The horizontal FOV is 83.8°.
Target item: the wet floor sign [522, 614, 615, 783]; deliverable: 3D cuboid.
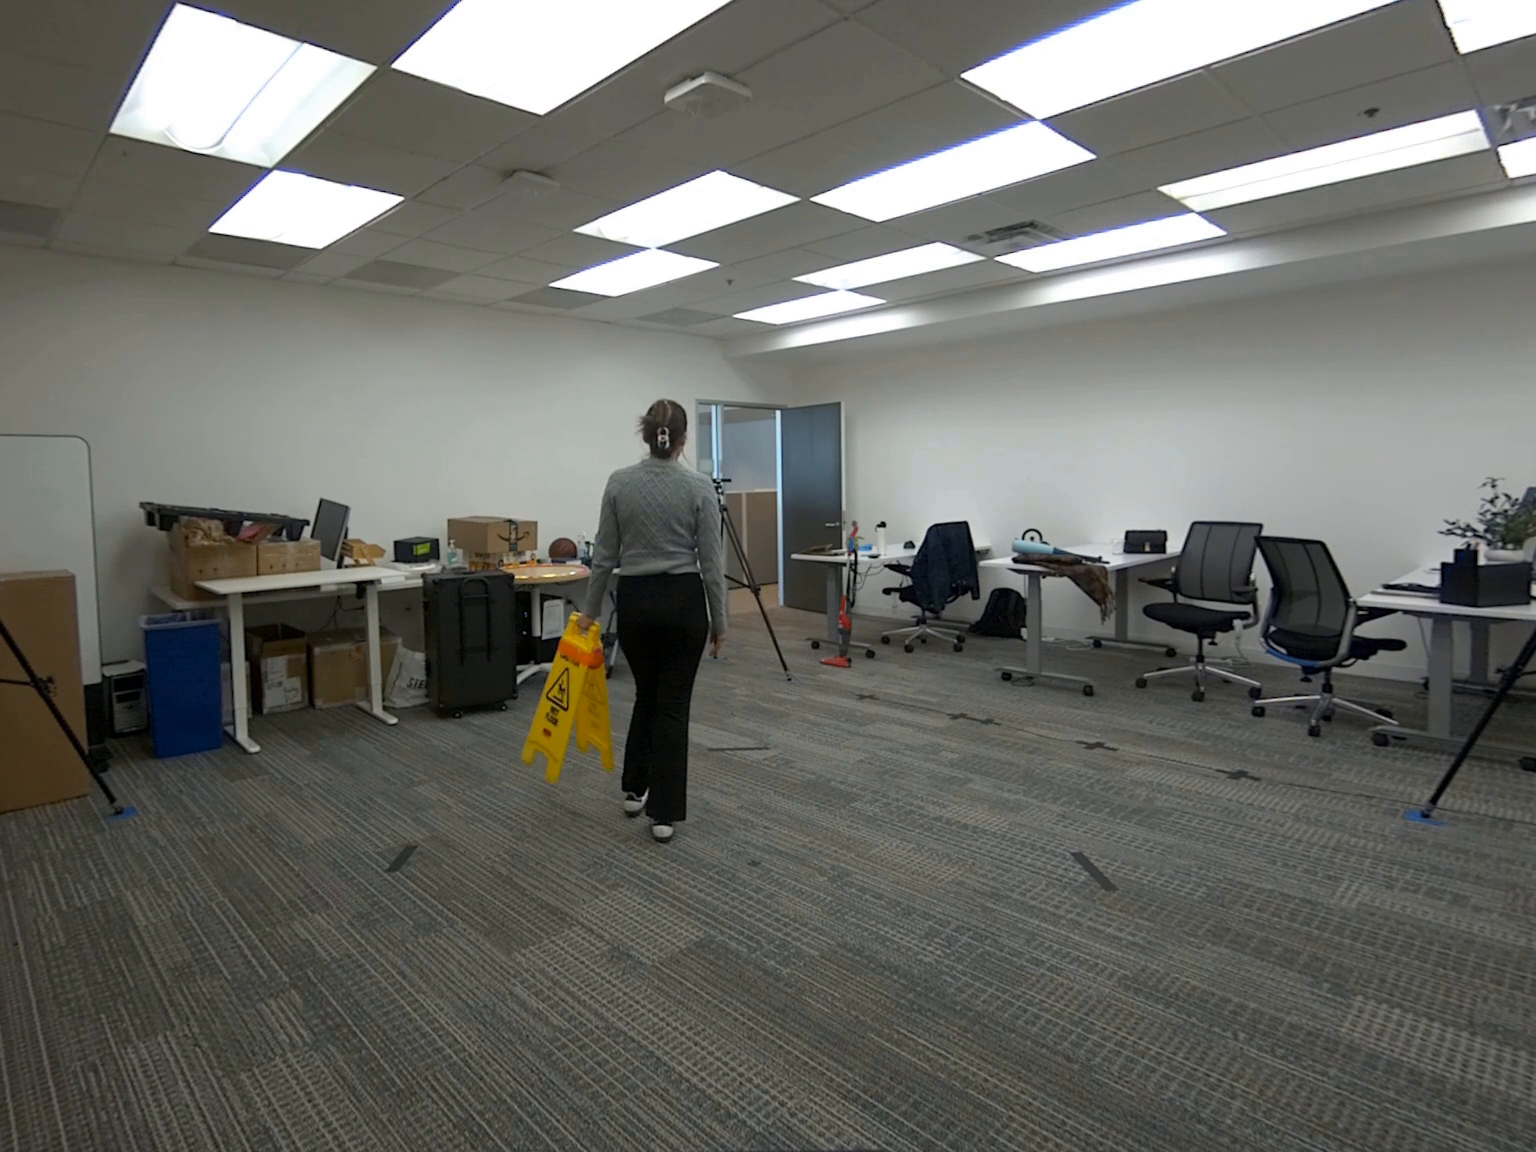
[{"bbox_3d":[-0.797,0.487,3.578,0.281,0.642,0.292,2,10,-45],"label":"wet floor sign"}]
